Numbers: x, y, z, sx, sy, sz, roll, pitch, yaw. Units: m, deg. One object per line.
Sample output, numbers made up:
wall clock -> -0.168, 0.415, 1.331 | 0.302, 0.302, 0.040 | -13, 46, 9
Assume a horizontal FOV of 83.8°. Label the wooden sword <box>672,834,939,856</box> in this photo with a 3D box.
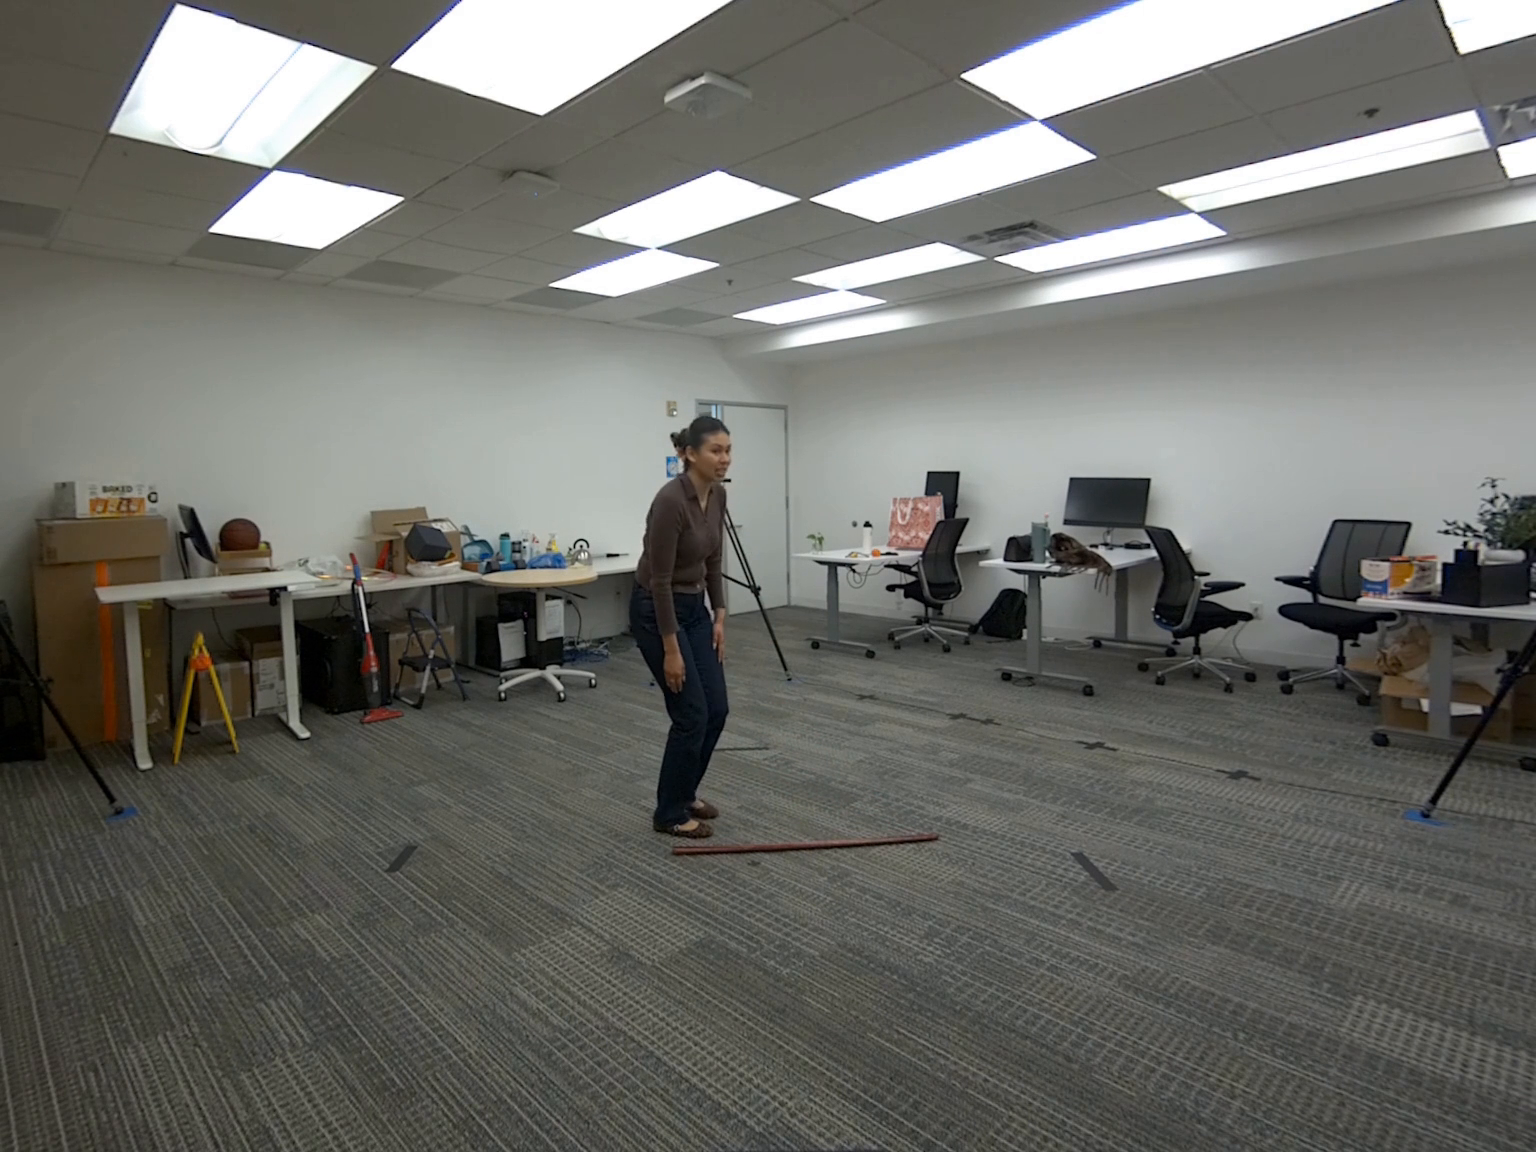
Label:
wooden sword -> 0.154, 0.991, 3.237 | 1.019, 0.024, 0.050 | -3, -21, -6
